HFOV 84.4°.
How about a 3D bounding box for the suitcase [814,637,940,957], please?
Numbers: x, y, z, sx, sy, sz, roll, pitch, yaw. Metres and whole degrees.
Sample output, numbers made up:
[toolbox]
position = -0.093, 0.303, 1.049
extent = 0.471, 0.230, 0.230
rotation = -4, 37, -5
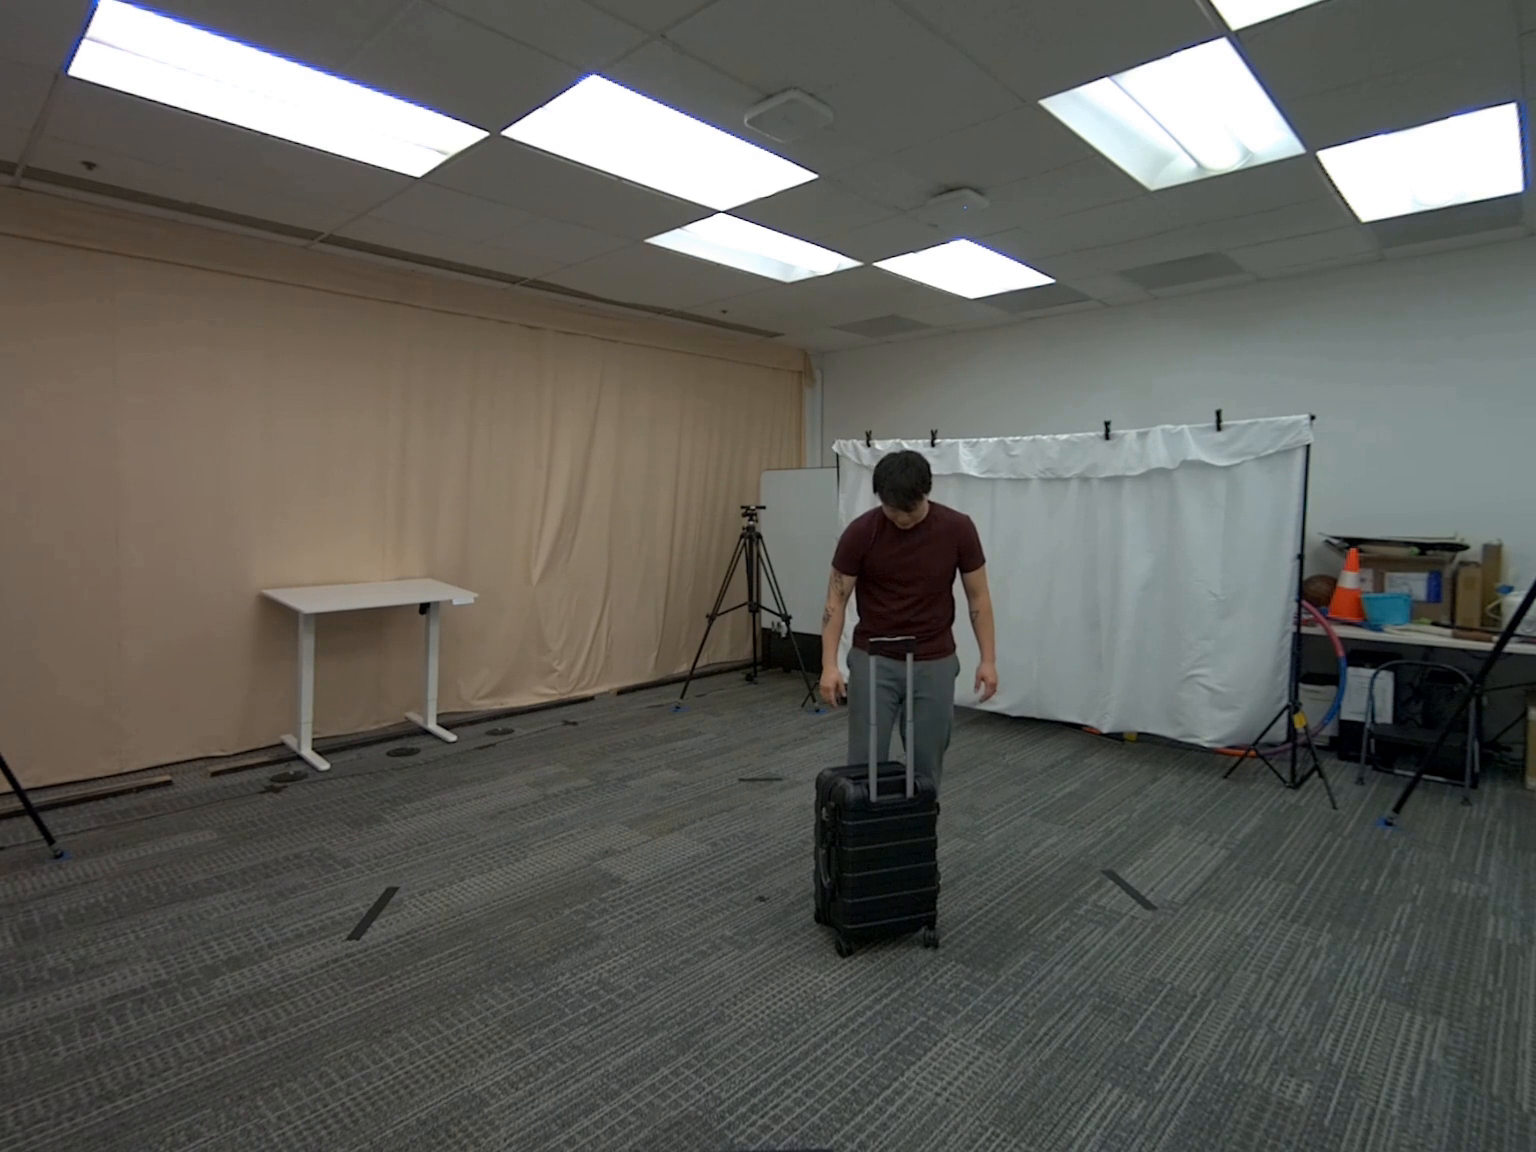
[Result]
[suitcase]
position = 0.342, 0.692, 2.709
extent = 0.378, 0.977, 0.261
rotation = -1, 3, -14
